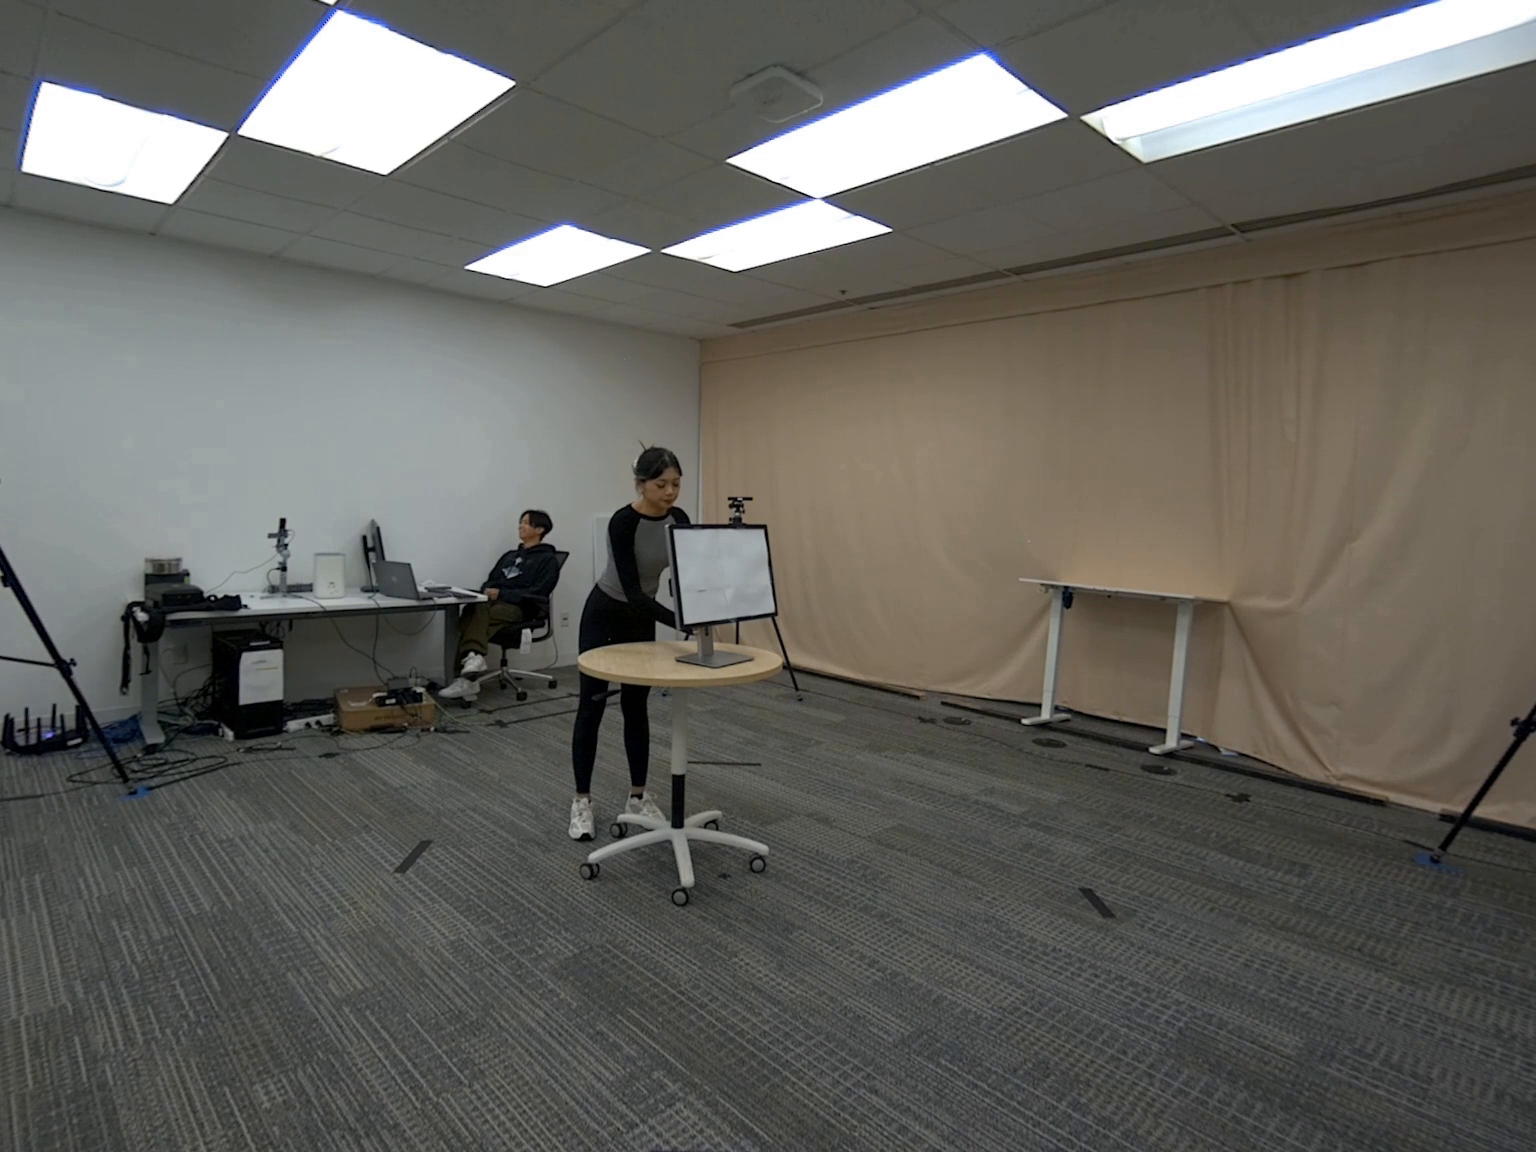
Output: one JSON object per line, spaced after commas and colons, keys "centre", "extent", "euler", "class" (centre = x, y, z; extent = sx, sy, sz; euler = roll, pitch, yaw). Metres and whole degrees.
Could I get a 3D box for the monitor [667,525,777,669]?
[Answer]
{"centre": [-0.195, 0.068, 3.112], "extent": [0.179, 0.514, 0.518], "euler": [13, 9, 36], "class": "monitor"}
